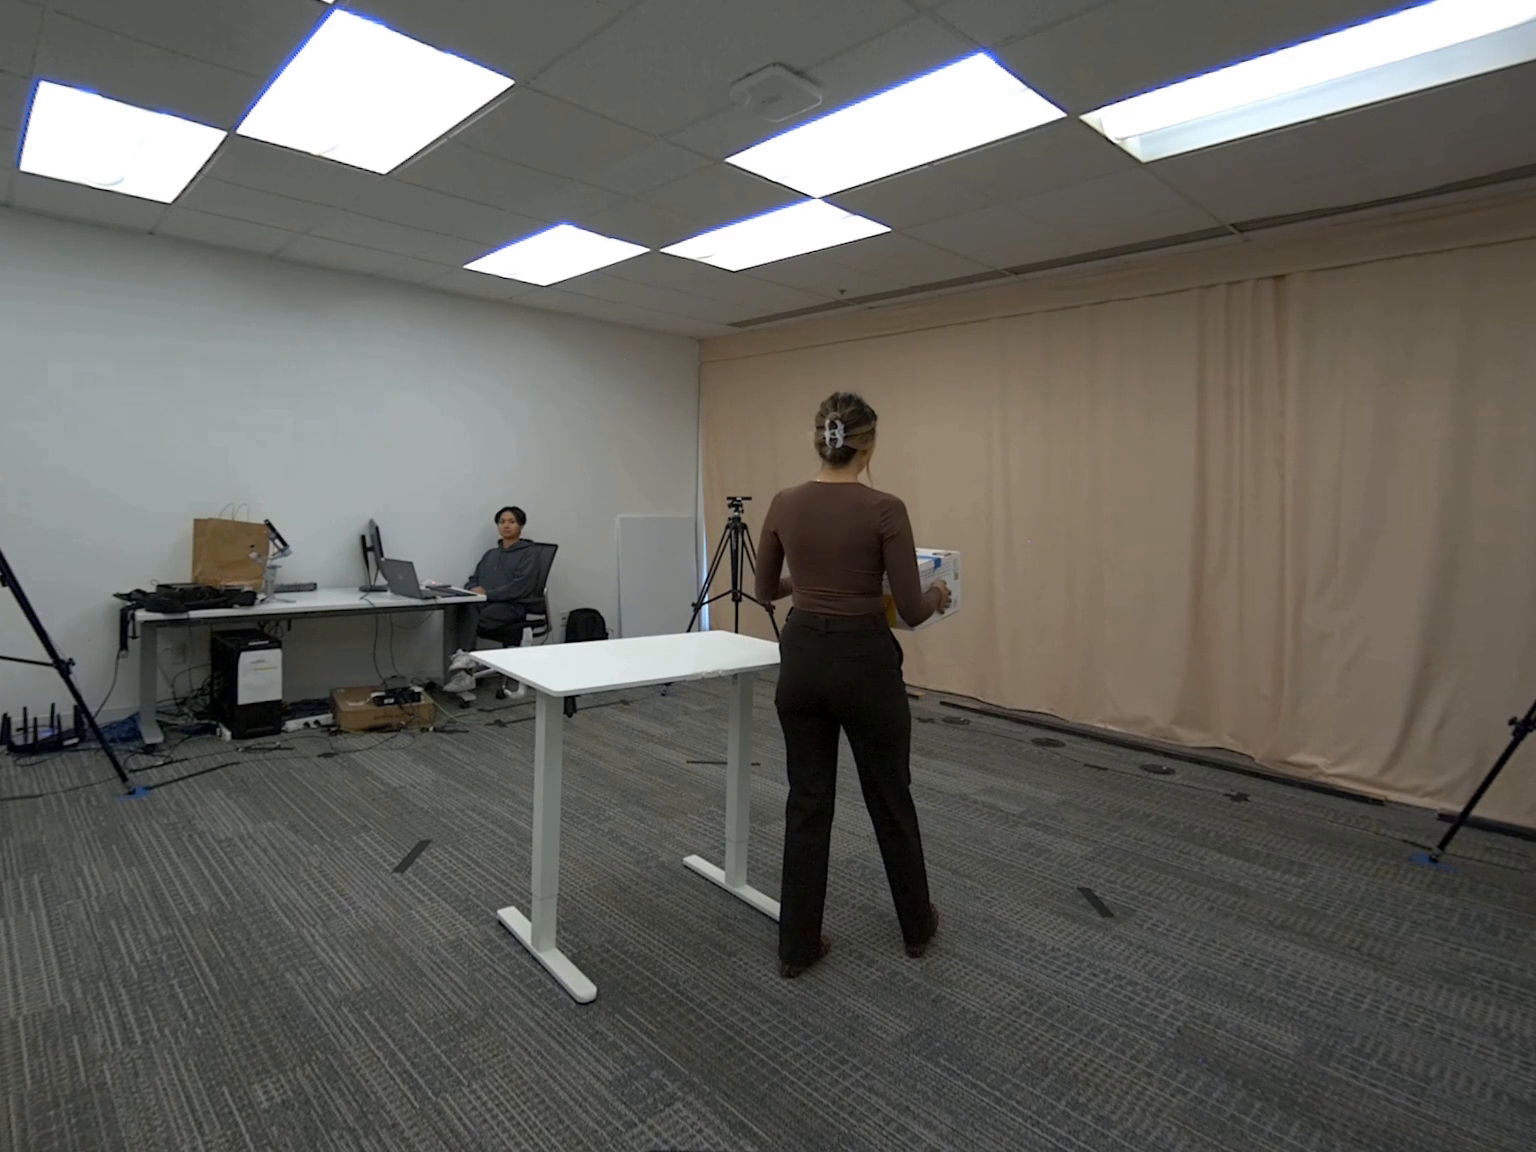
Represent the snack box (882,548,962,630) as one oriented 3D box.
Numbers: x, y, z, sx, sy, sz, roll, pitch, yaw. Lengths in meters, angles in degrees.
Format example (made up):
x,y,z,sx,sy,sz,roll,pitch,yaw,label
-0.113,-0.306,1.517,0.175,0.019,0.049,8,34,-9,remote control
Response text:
x,y,z,sx,sy,sz,roll,pitch,yaw,label
0.379,0.029,2.787,0.415,0.204,0.334,6,13,36,snack box
